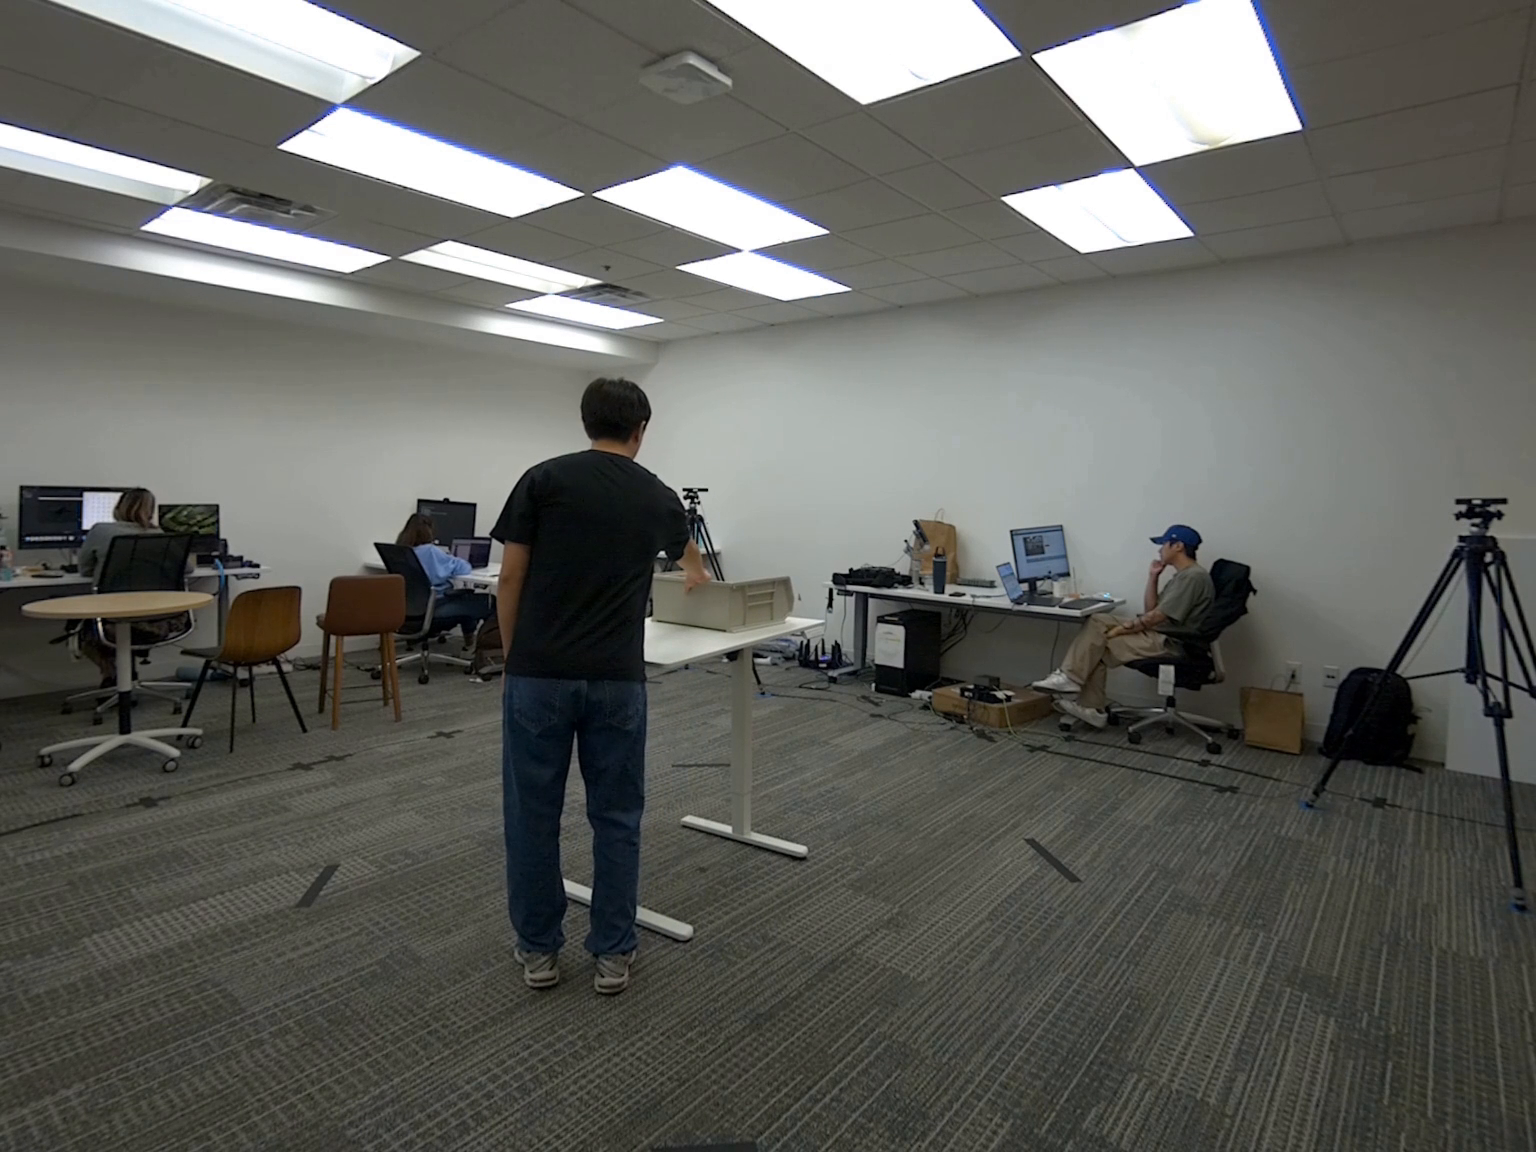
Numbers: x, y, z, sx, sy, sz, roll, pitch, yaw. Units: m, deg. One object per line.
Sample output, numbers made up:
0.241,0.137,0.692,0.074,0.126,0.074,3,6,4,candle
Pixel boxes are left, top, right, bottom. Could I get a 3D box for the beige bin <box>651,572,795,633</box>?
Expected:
-0.189,0.086,3.240,0.436,0.188,0.367,5,8,39,beige bin
